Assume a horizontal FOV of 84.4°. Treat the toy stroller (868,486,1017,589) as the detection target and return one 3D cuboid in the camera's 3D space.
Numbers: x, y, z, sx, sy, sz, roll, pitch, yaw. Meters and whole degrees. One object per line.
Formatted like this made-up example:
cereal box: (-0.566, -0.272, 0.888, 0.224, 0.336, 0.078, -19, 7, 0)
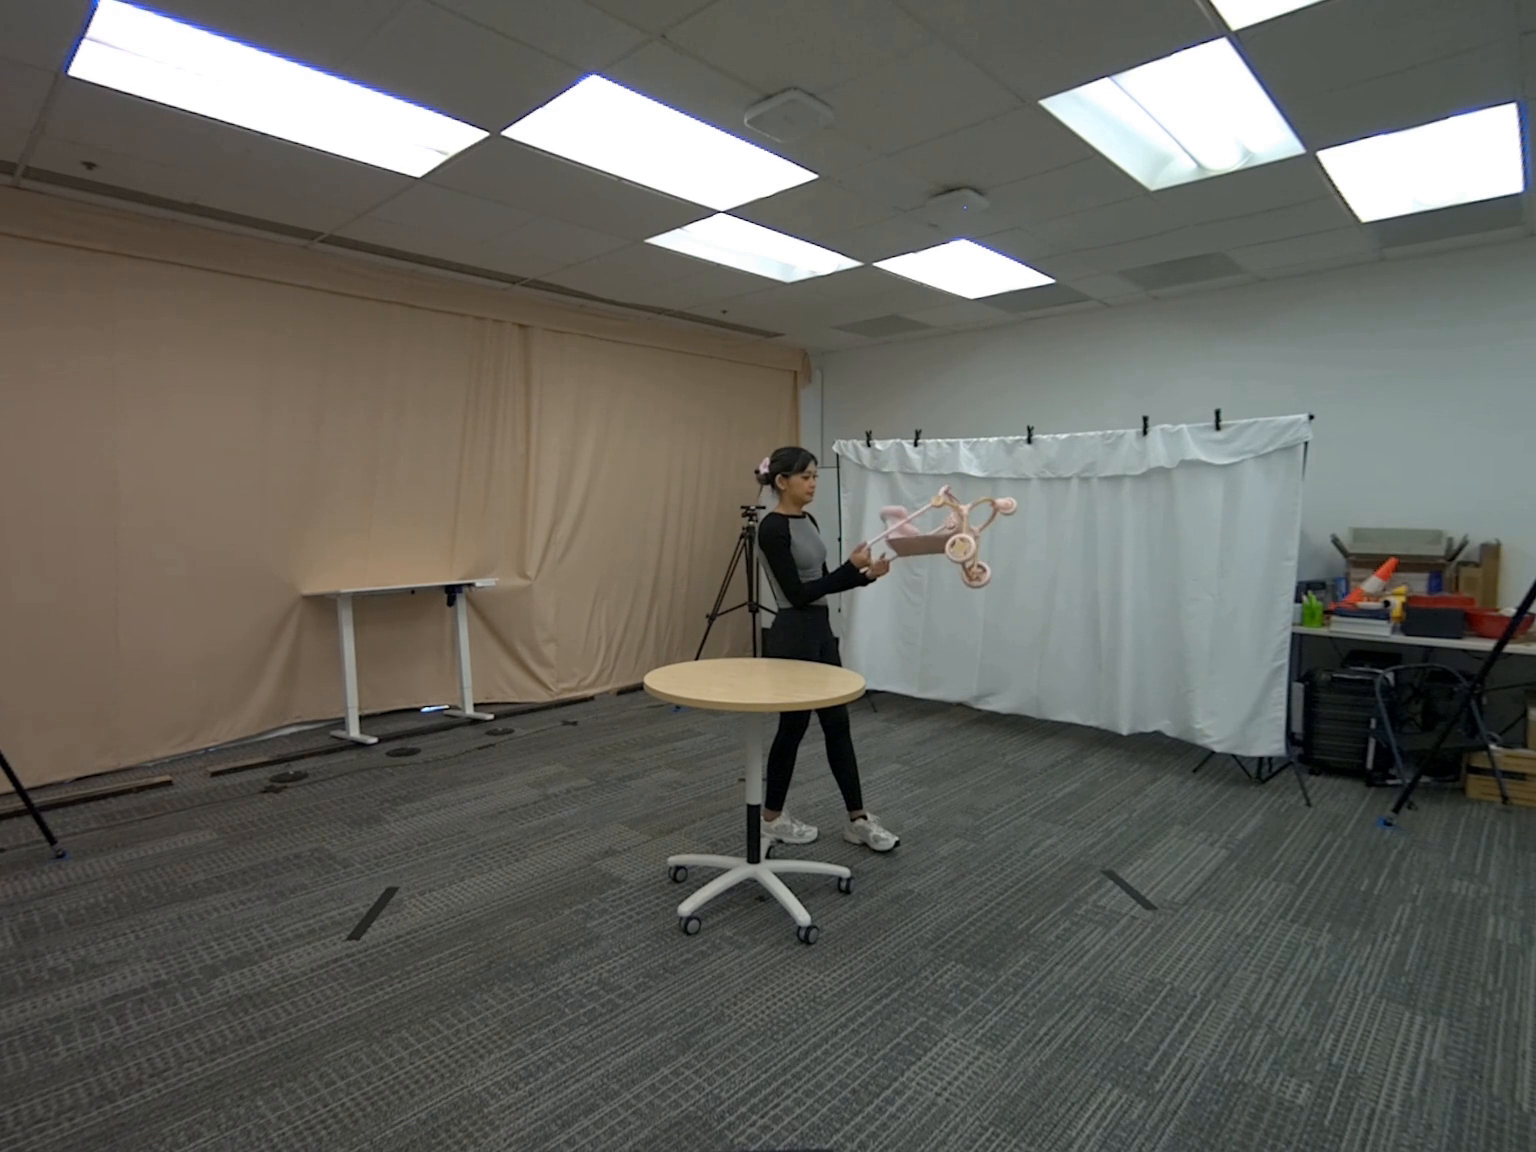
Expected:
toy stroller: (0.649, -0.173, 3.201, 0.552, 0.342, 0.271, 8, -14, 33)
